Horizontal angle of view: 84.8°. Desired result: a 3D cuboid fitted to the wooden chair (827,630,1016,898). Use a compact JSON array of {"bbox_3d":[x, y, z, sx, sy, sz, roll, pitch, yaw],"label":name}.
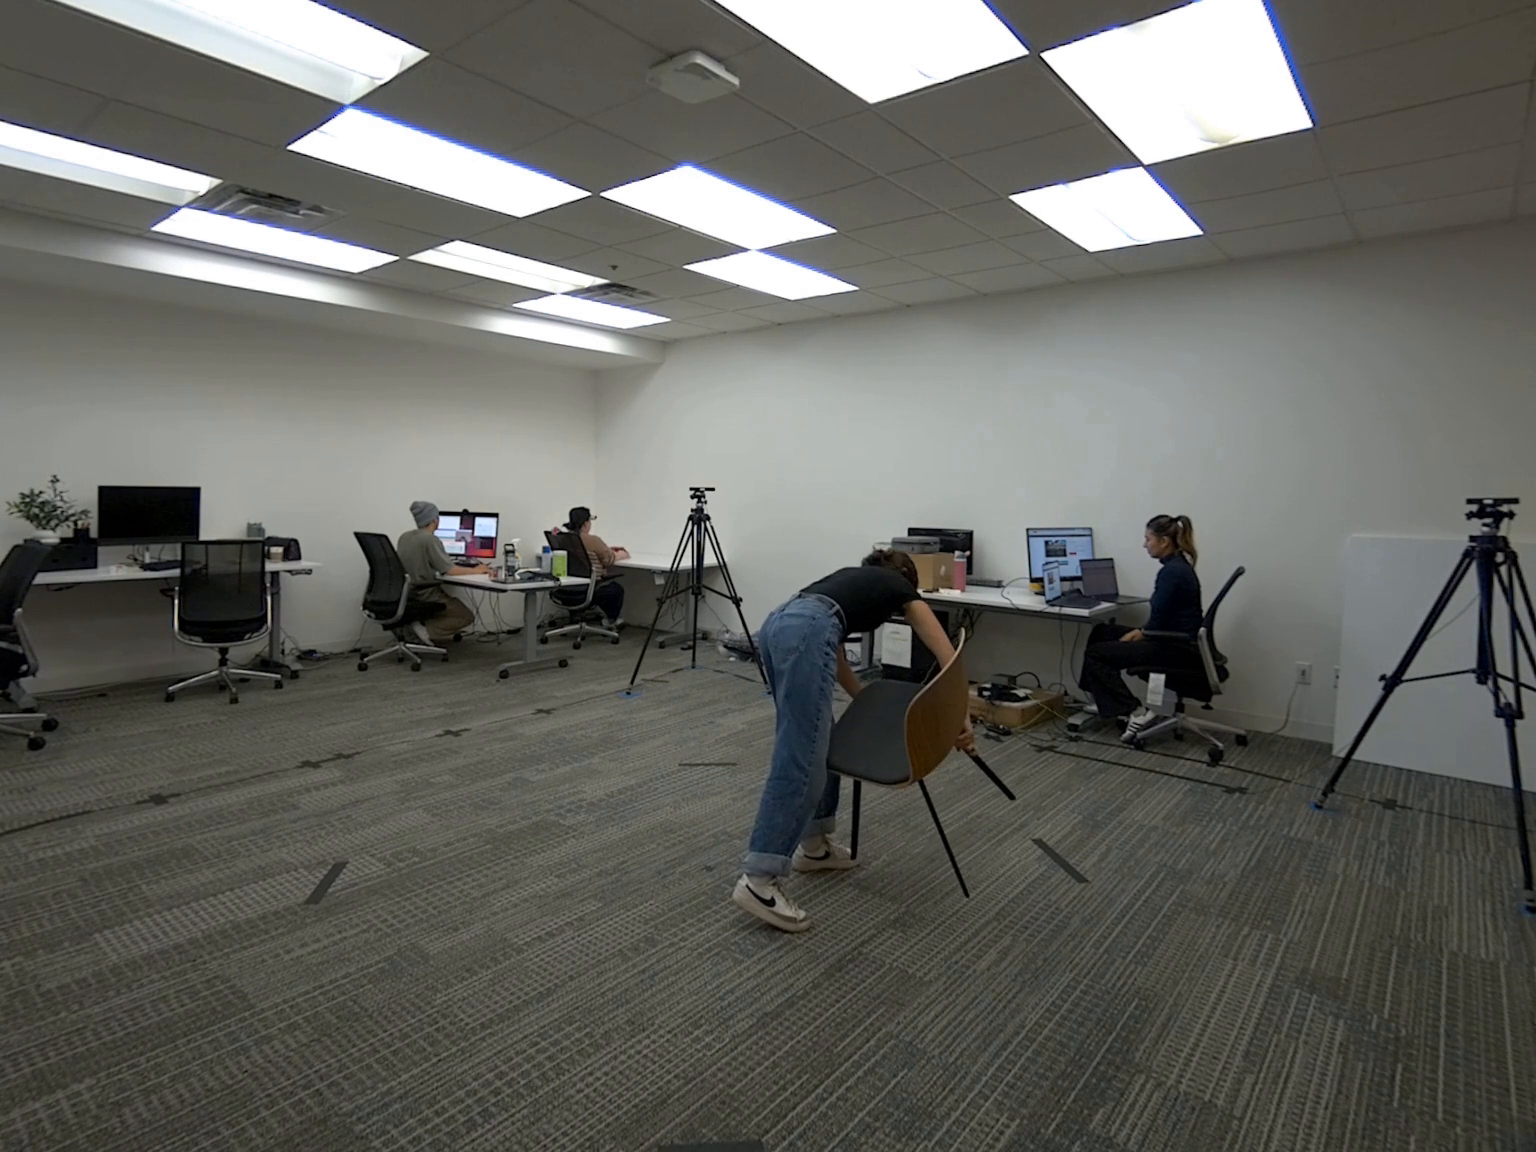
[{"bbox_3d":[0.456,0.570,2.923,0.541,0.850,0.477,7,38,37],"label":"wooden chair"}]
